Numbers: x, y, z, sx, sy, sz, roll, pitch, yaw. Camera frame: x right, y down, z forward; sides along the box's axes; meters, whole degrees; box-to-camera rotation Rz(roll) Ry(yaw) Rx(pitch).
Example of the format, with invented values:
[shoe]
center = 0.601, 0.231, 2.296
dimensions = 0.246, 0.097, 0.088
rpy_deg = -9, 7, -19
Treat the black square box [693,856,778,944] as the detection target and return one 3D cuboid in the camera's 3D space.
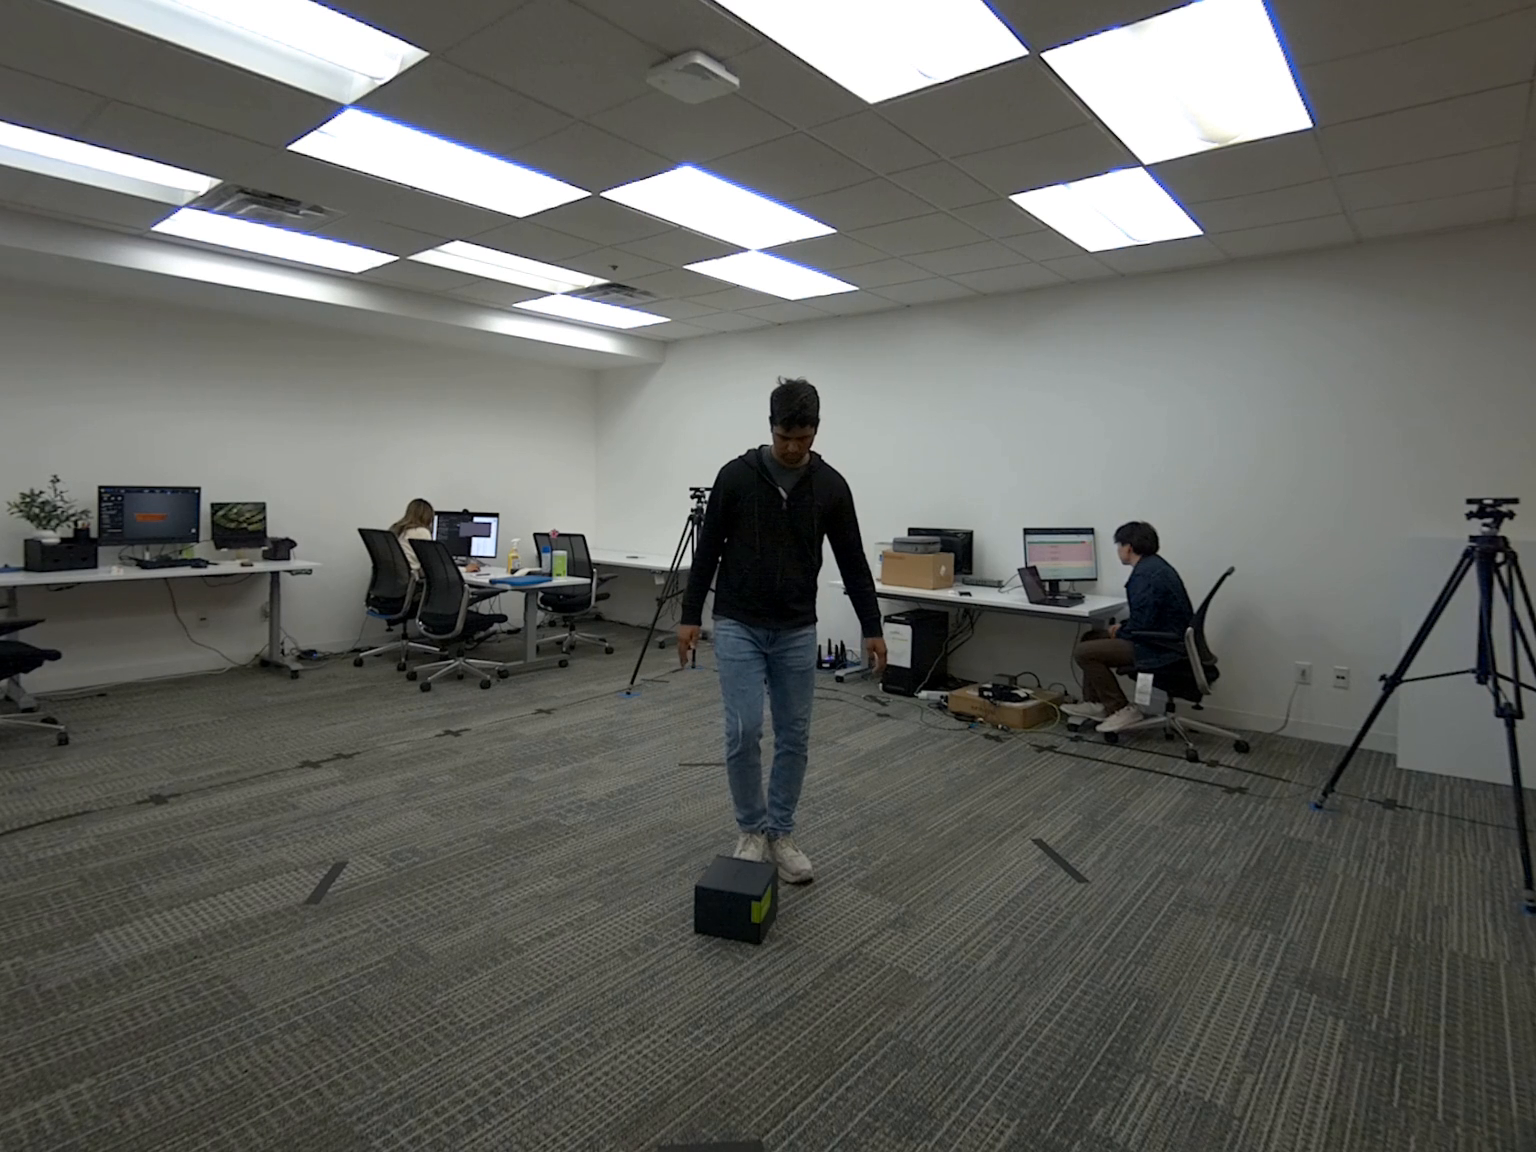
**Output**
[black square box]
center = -0.108, 1.020, 2.709
dimensions = 0.221, 0.155, 0.225
rpy_deg = 2, 5, 15
